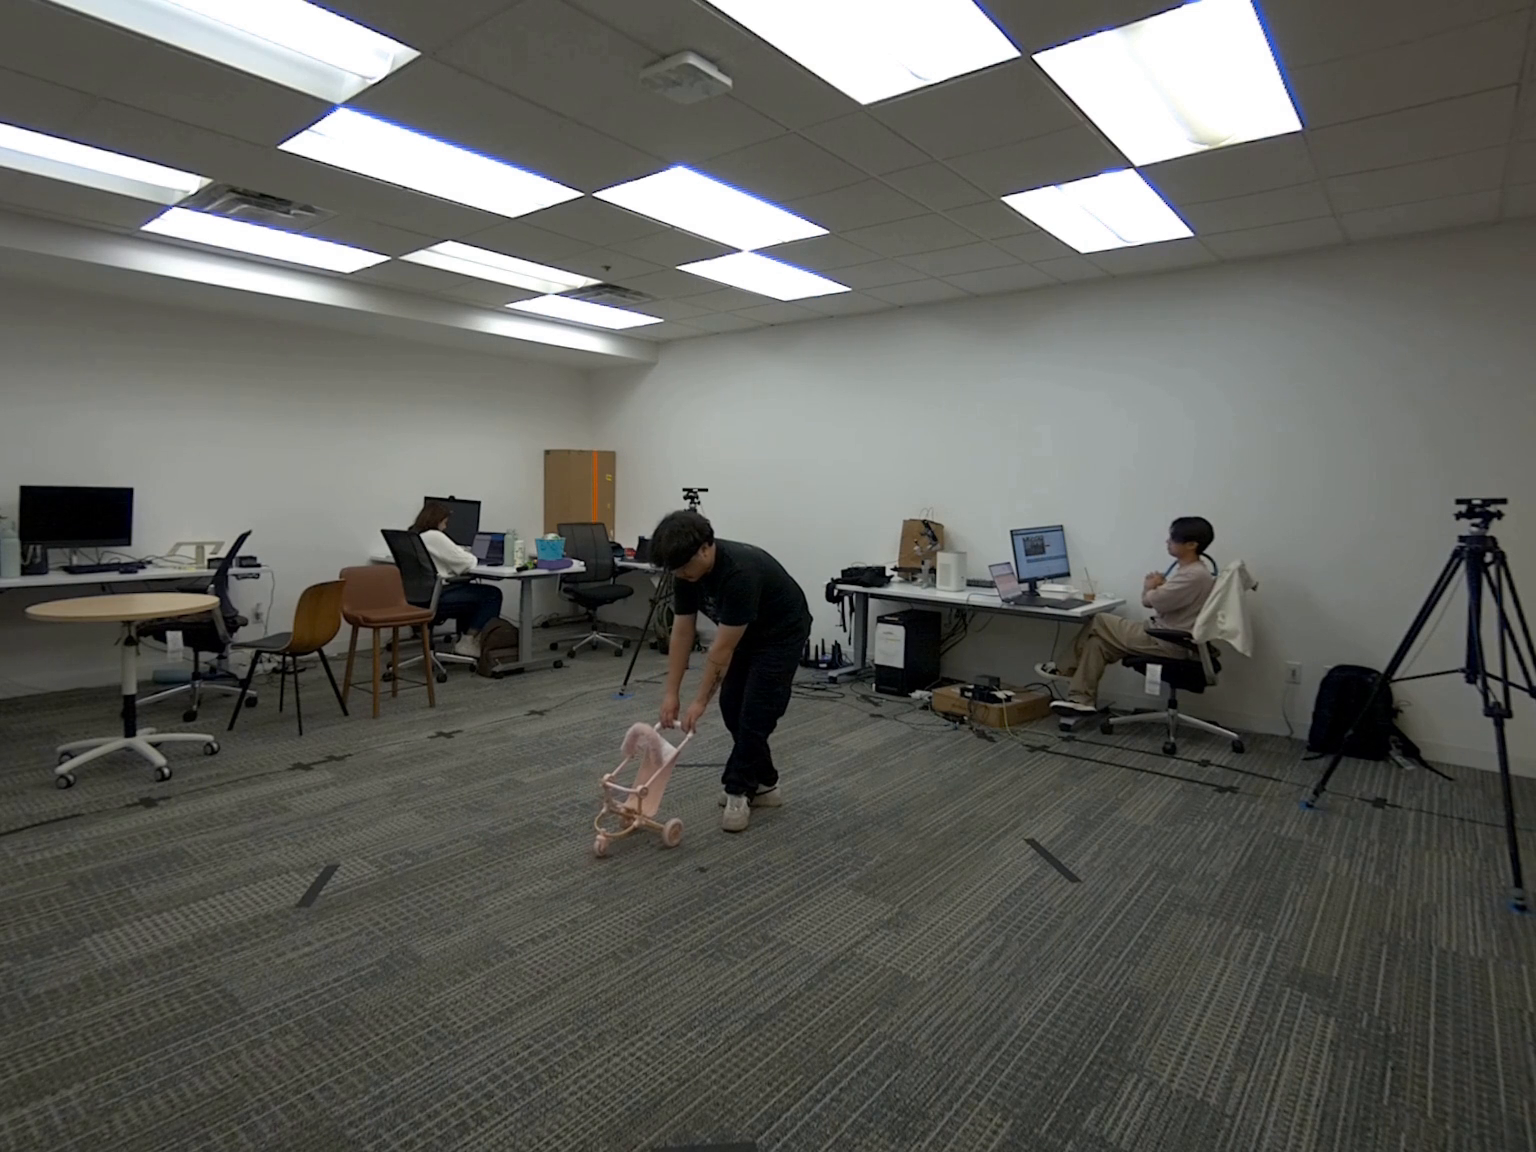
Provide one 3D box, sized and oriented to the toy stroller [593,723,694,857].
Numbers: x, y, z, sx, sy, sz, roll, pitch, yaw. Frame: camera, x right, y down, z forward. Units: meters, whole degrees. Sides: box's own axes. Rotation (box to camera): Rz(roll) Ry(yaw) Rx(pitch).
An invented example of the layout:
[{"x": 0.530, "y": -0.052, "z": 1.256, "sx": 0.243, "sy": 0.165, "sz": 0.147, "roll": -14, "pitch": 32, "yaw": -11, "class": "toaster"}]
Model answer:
[{"x": -0.514, "y": 0.816, "z": 3.334, "sx": 0.291, "sy": 0.538, "sz": 0.328, "roll": 3, "pitch": -12, "yaw": 43, "class": "toy stroller"}]
